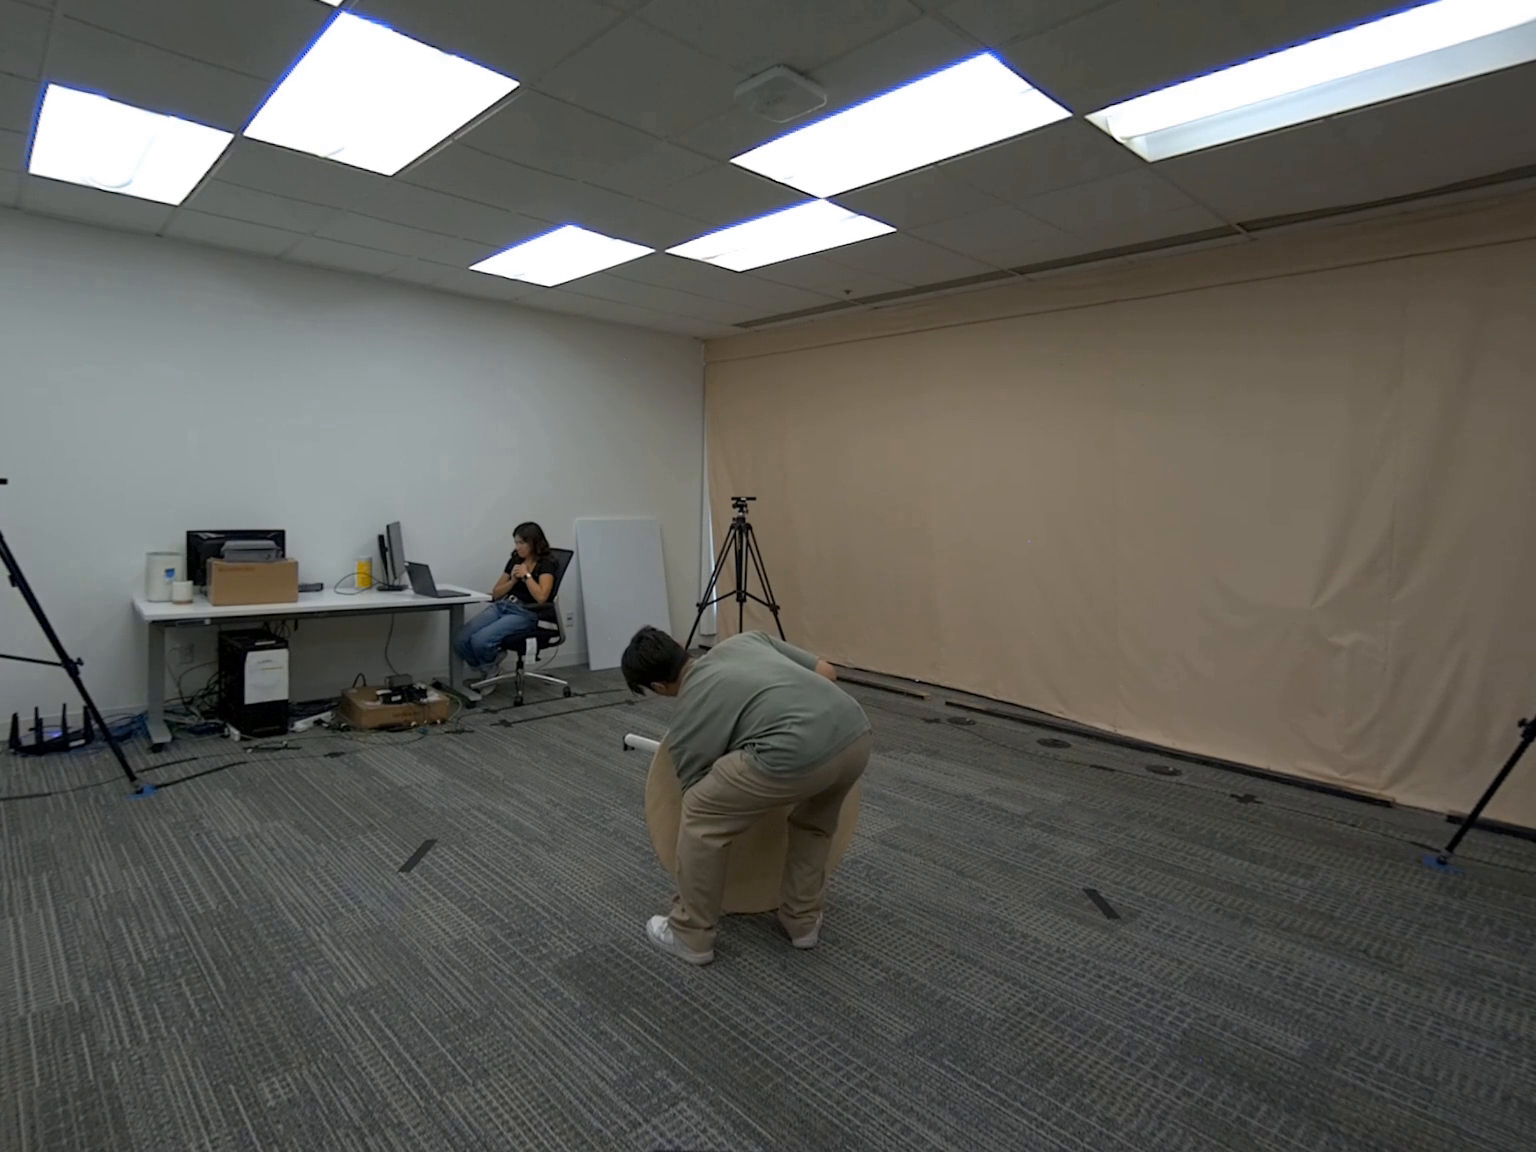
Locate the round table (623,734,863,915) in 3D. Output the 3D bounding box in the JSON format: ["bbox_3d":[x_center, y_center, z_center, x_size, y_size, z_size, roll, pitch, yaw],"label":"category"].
[{"bbox_3d":[-0.167,0.763,3.245,0.775,0.787,0.795,0,-3,-17],"label":"round table"}]
